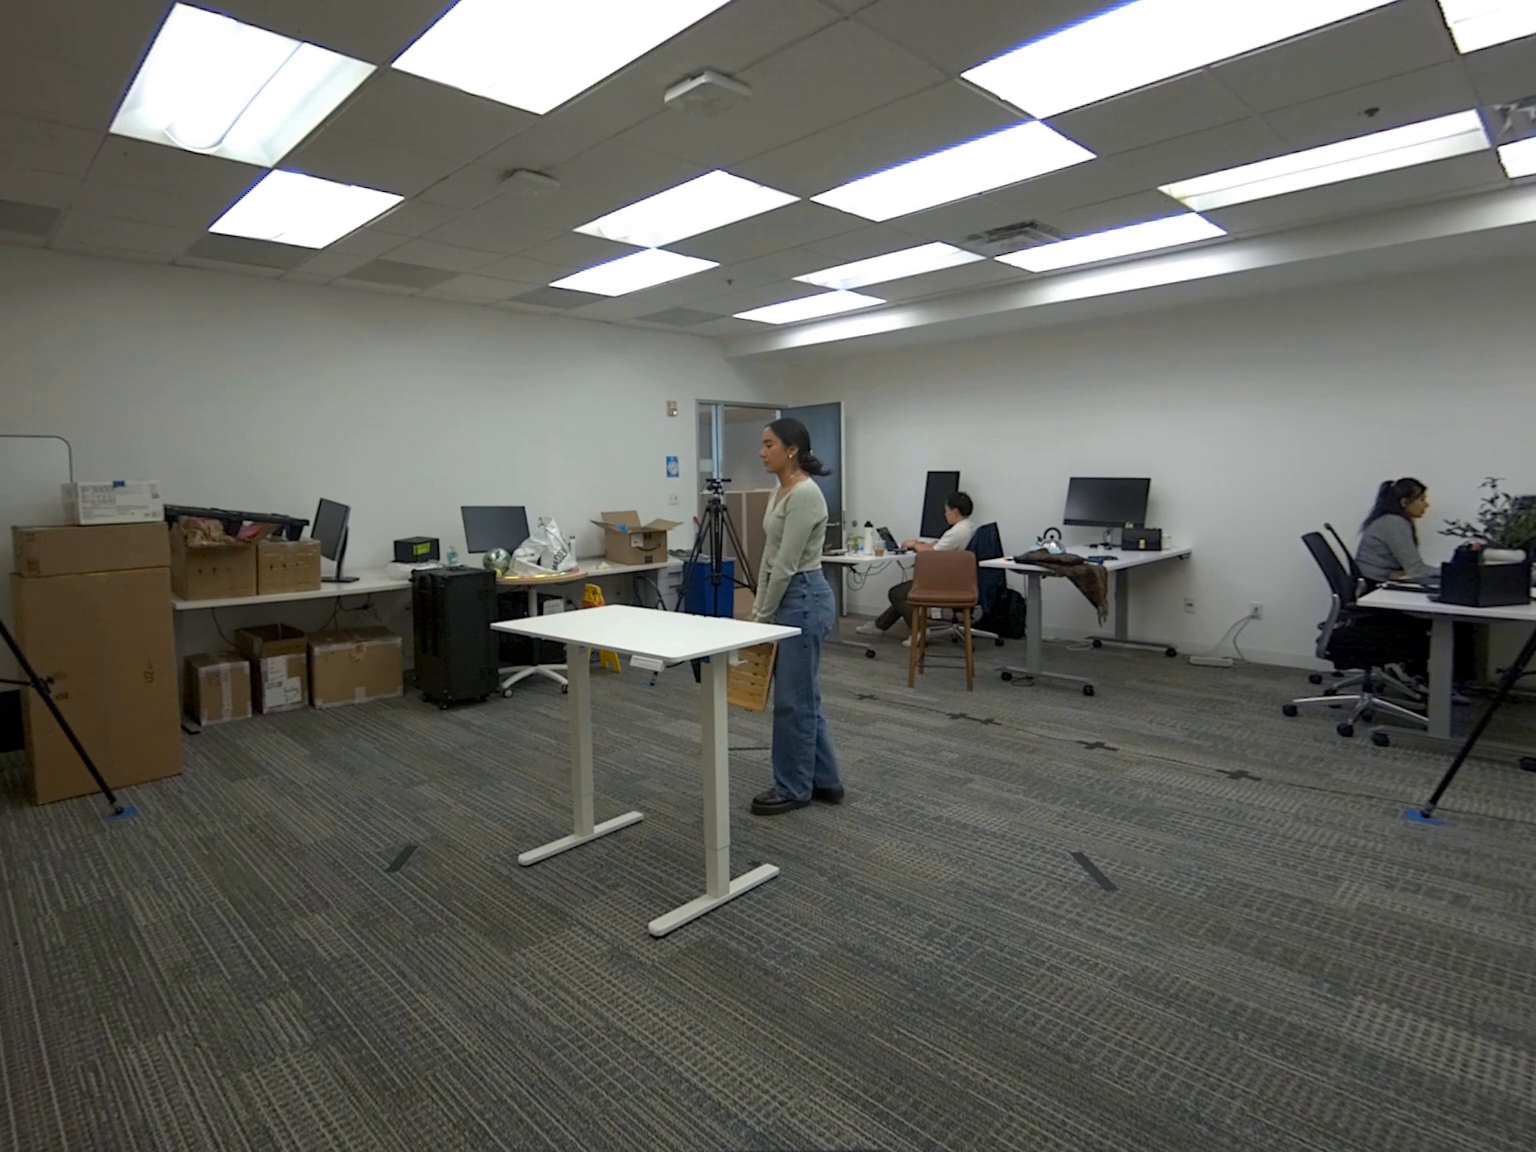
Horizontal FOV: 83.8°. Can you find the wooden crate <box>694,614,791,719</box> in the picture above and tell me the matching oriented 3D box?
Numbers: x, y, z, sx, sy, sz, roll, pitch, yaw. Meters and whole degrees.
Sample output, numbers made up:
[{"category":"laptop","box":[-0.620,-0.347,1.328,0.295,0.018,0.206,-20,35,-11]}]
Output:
[{"category":"wooden crate","box":[-0.107,0.375,3.652,0.306,0.323,0.271,13,8,11]}]
